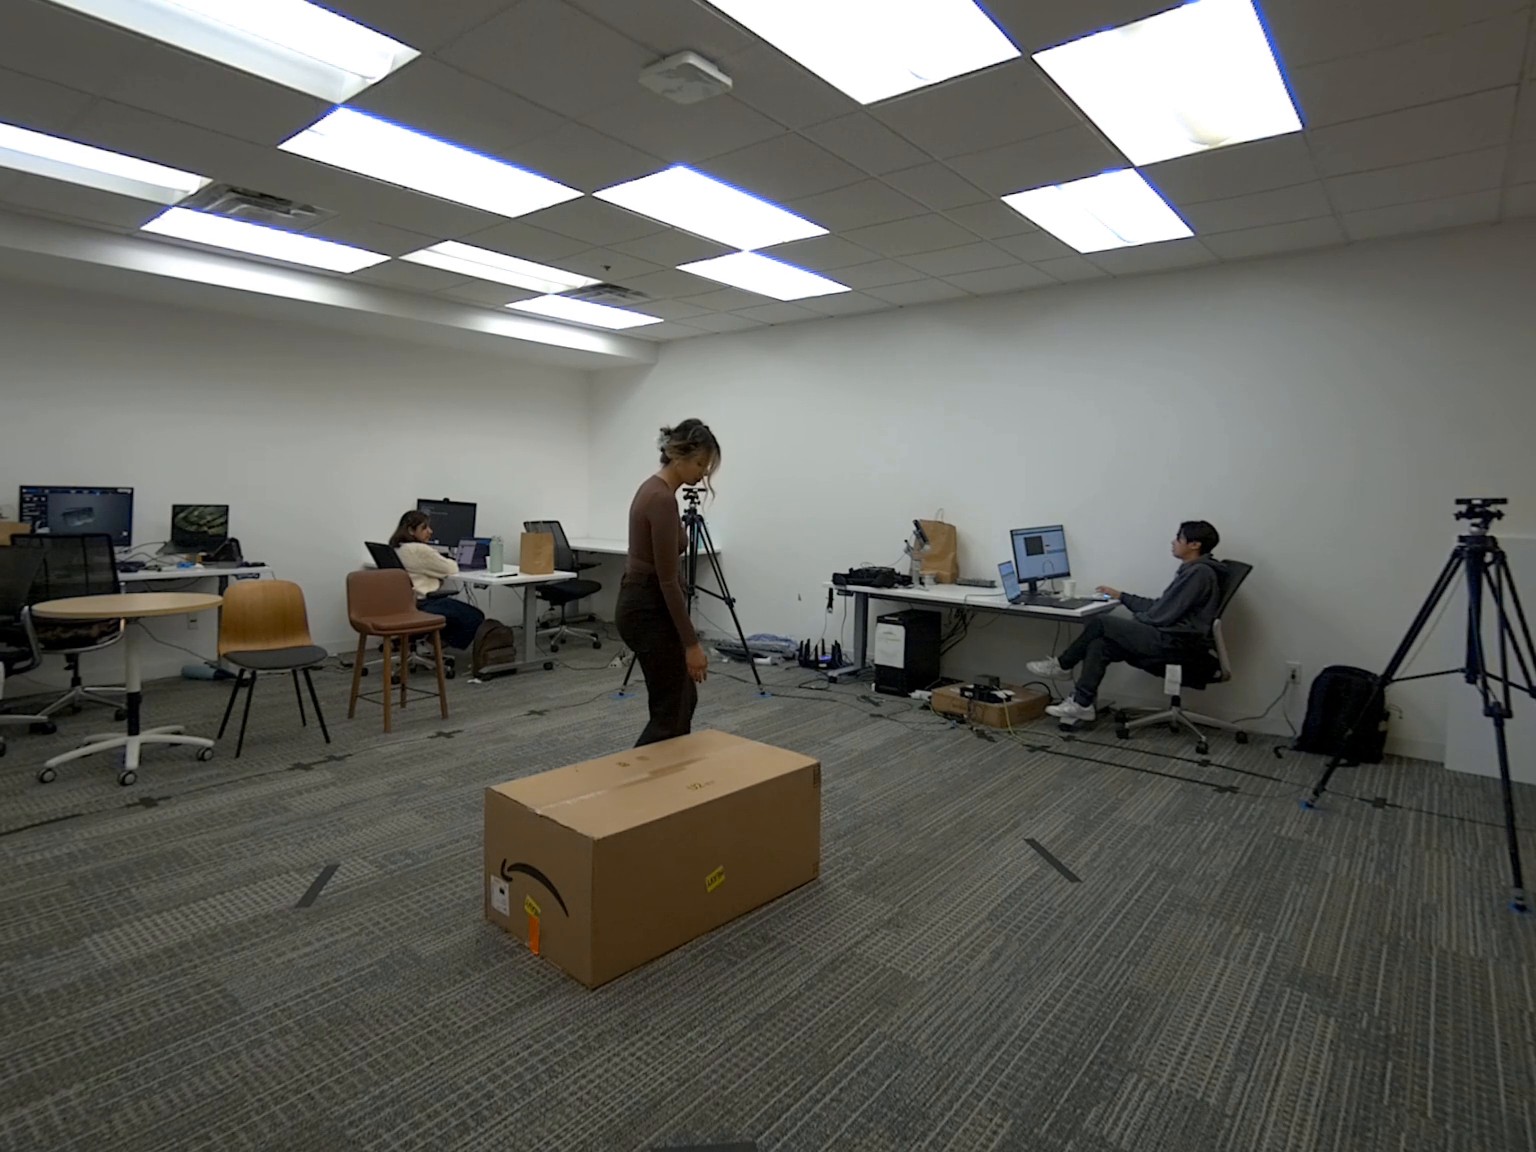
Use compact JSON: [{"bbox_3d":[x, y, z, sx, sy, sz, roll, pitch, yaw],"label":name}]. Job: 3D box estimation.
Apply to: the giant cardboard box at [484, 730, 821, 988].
[{"bbox_3d":[-0.369,0.880,2.881,0.604,0.445,0.997,7,8,43],"label":"giant cardboard box"}]
